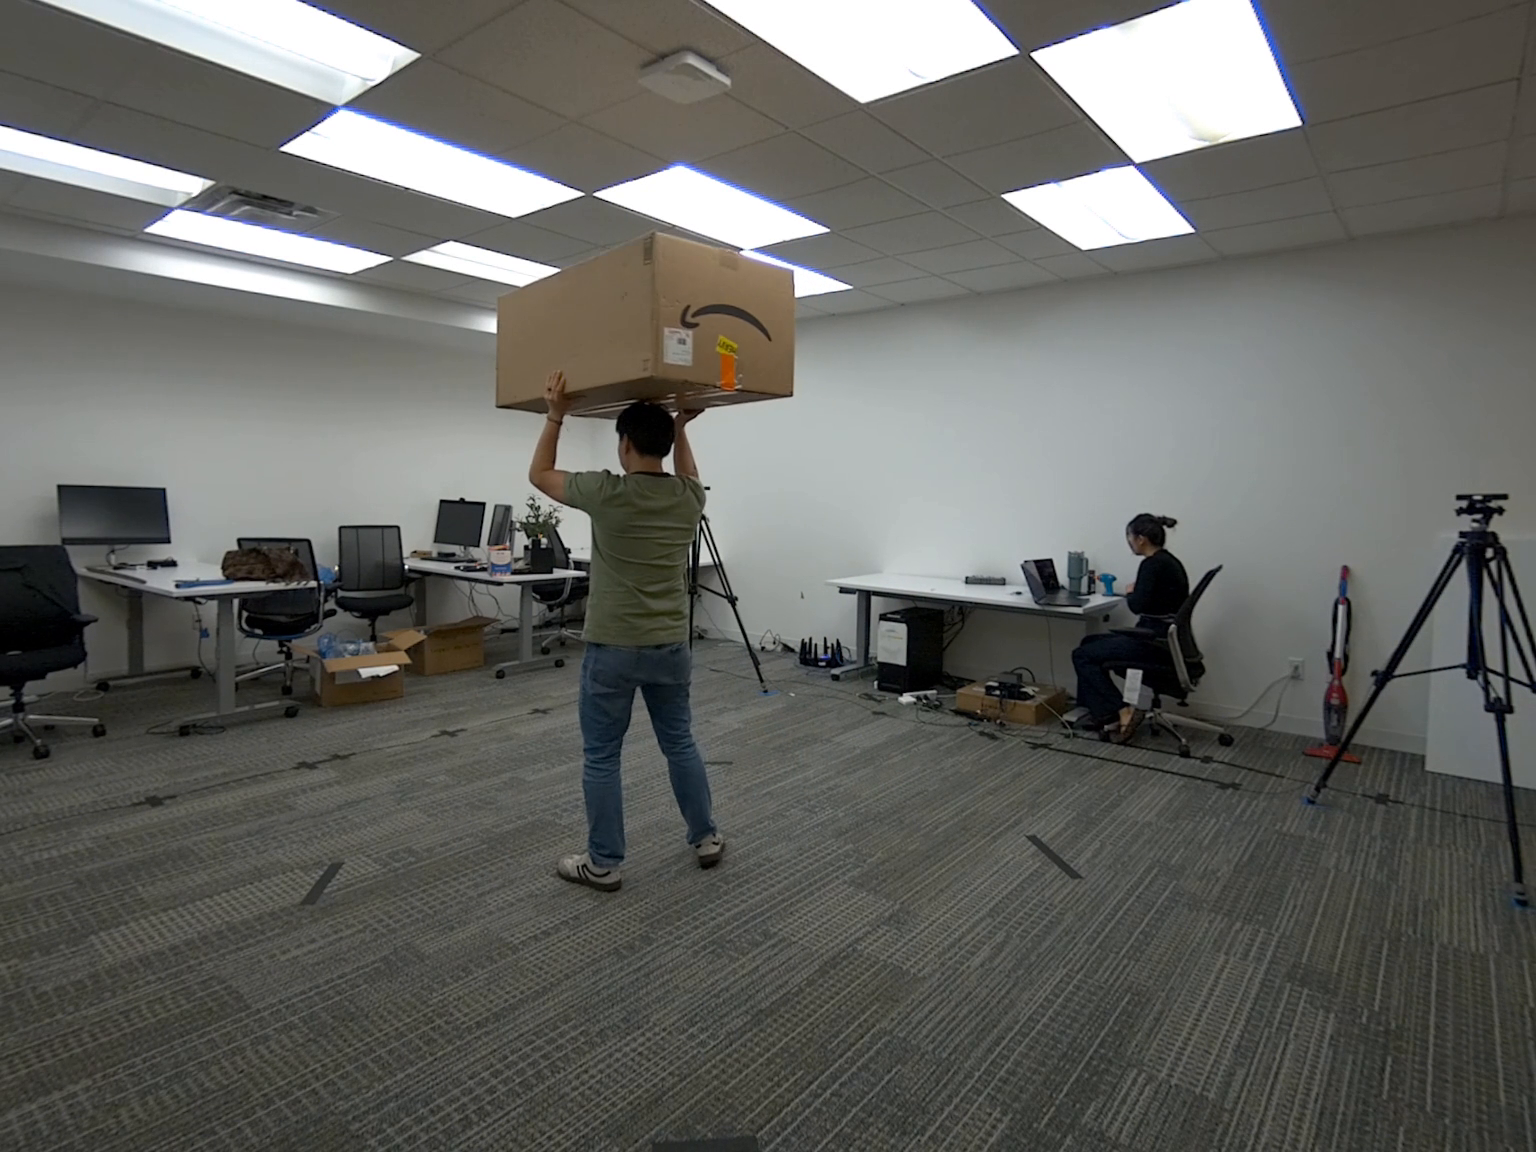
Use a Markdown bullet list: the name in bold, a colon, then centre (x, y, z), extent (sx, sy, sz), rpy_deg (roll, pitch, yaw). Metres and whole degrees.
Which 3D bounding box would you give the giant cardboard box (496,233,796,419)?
- **giant cardboard box**: centre (-0.477, -0.819, 3.004), extent (0.560, 0.425, 1.060), rpy_deg (-3, 5, -41)
